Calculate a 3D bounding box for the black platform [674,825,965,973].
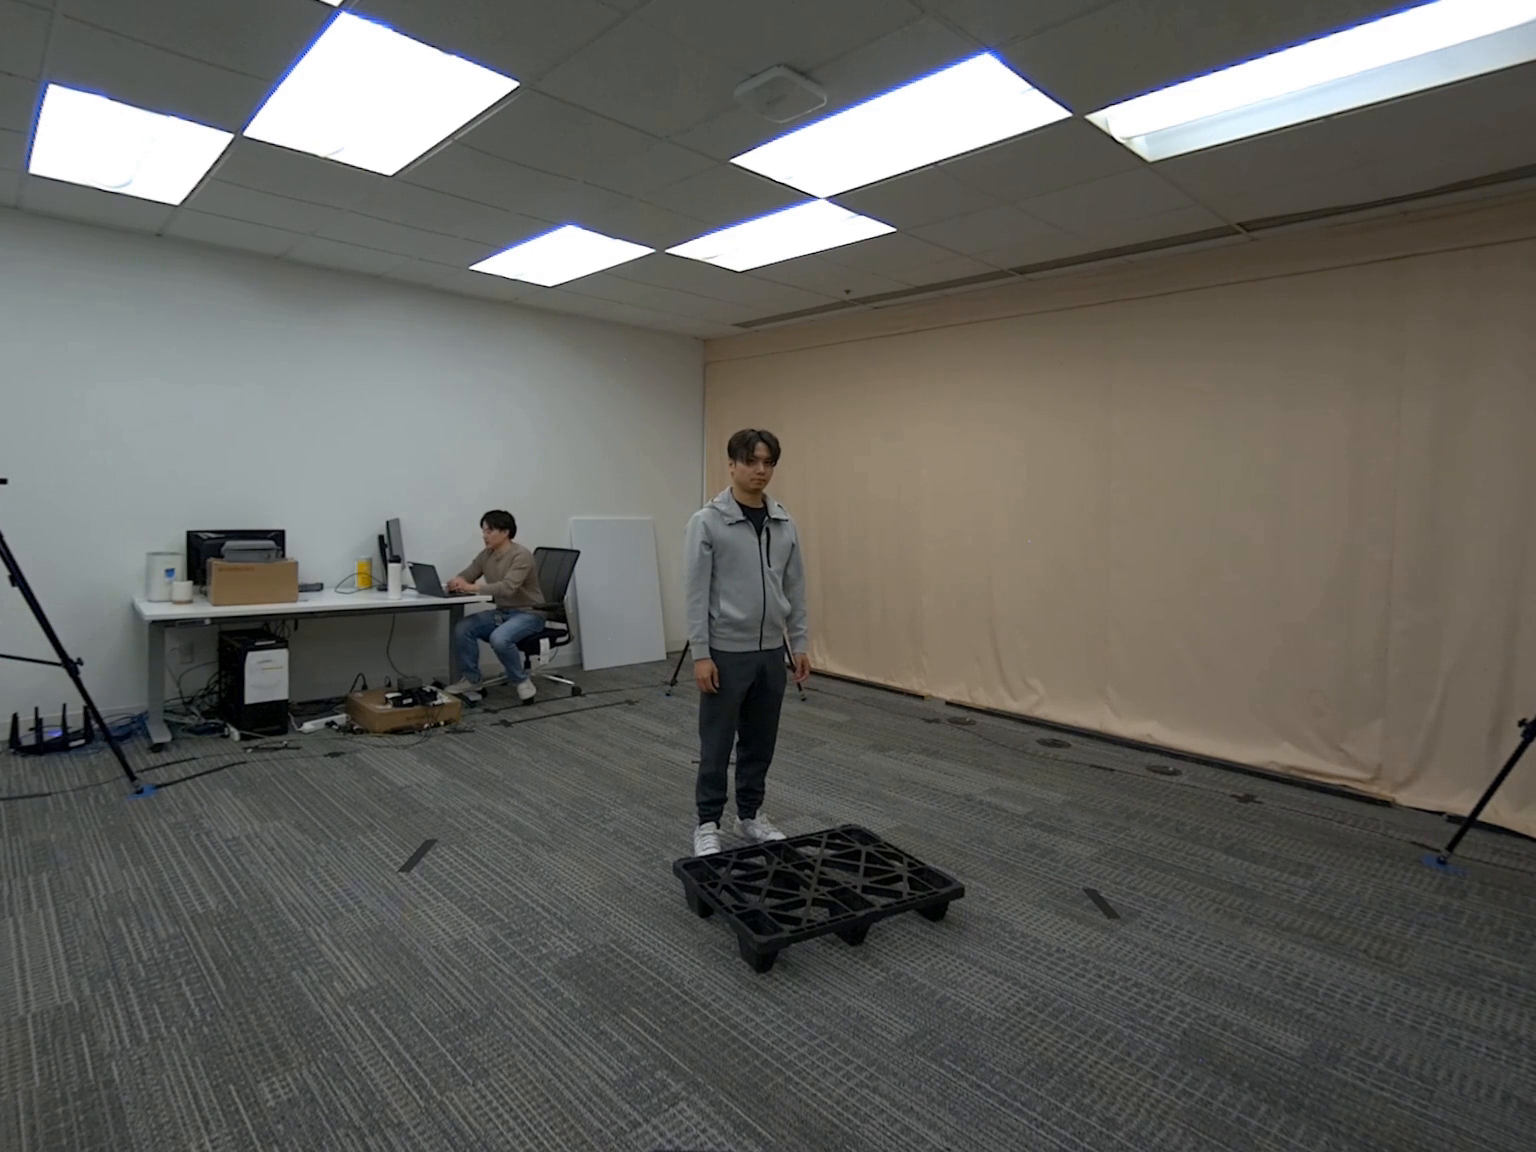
[{"bbox_3d":[0.148,1.073,2.841,0.789,0.143,0.619,-2,5,-30],"label":"black platform"}]
